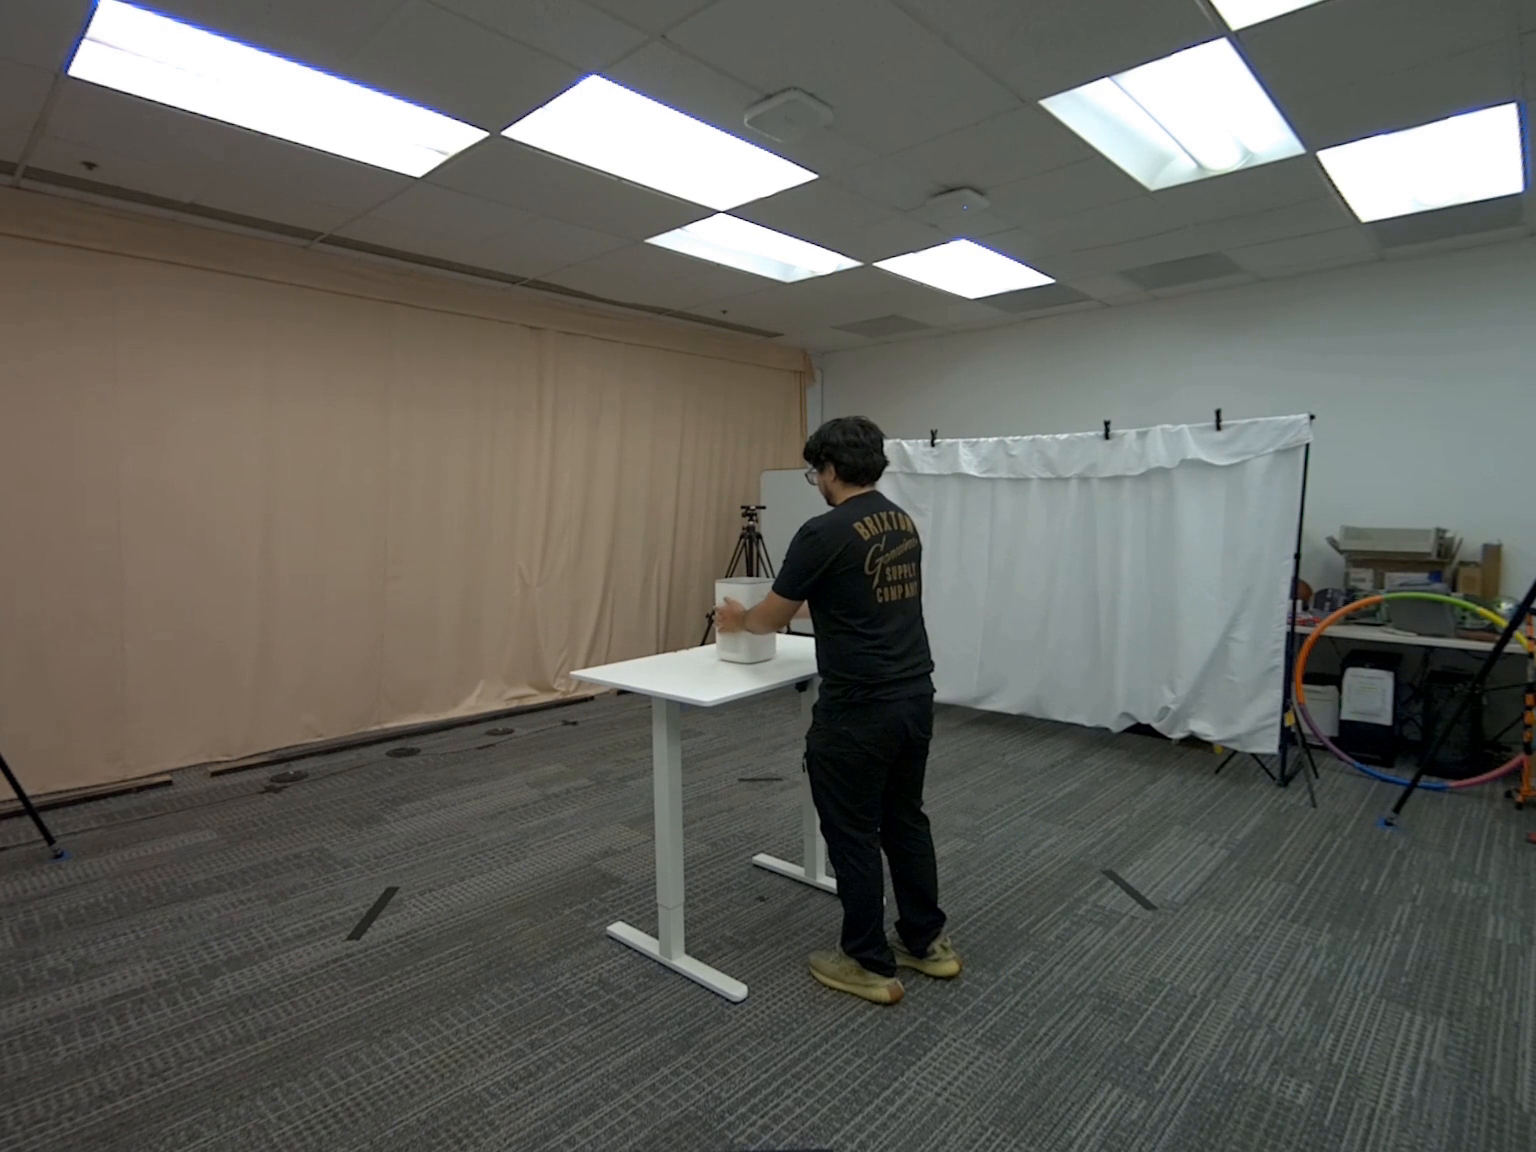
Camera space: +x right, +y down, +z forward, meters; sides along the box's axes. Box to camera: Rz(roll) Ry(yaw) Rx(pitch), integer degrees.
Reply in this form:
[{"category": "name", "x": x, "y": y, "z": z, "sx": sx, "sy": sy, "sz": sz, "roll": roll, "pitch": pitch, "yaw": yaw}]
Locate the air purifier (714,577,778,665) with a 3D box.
[{"category": "air purifier", "x": -0.067, "y": 0.151, "z": 2.769, "sx": 0.177, "sy": 0.265, "sz": 0.166, "roll": 3, "pitch": 5, "yaw": 40}]
